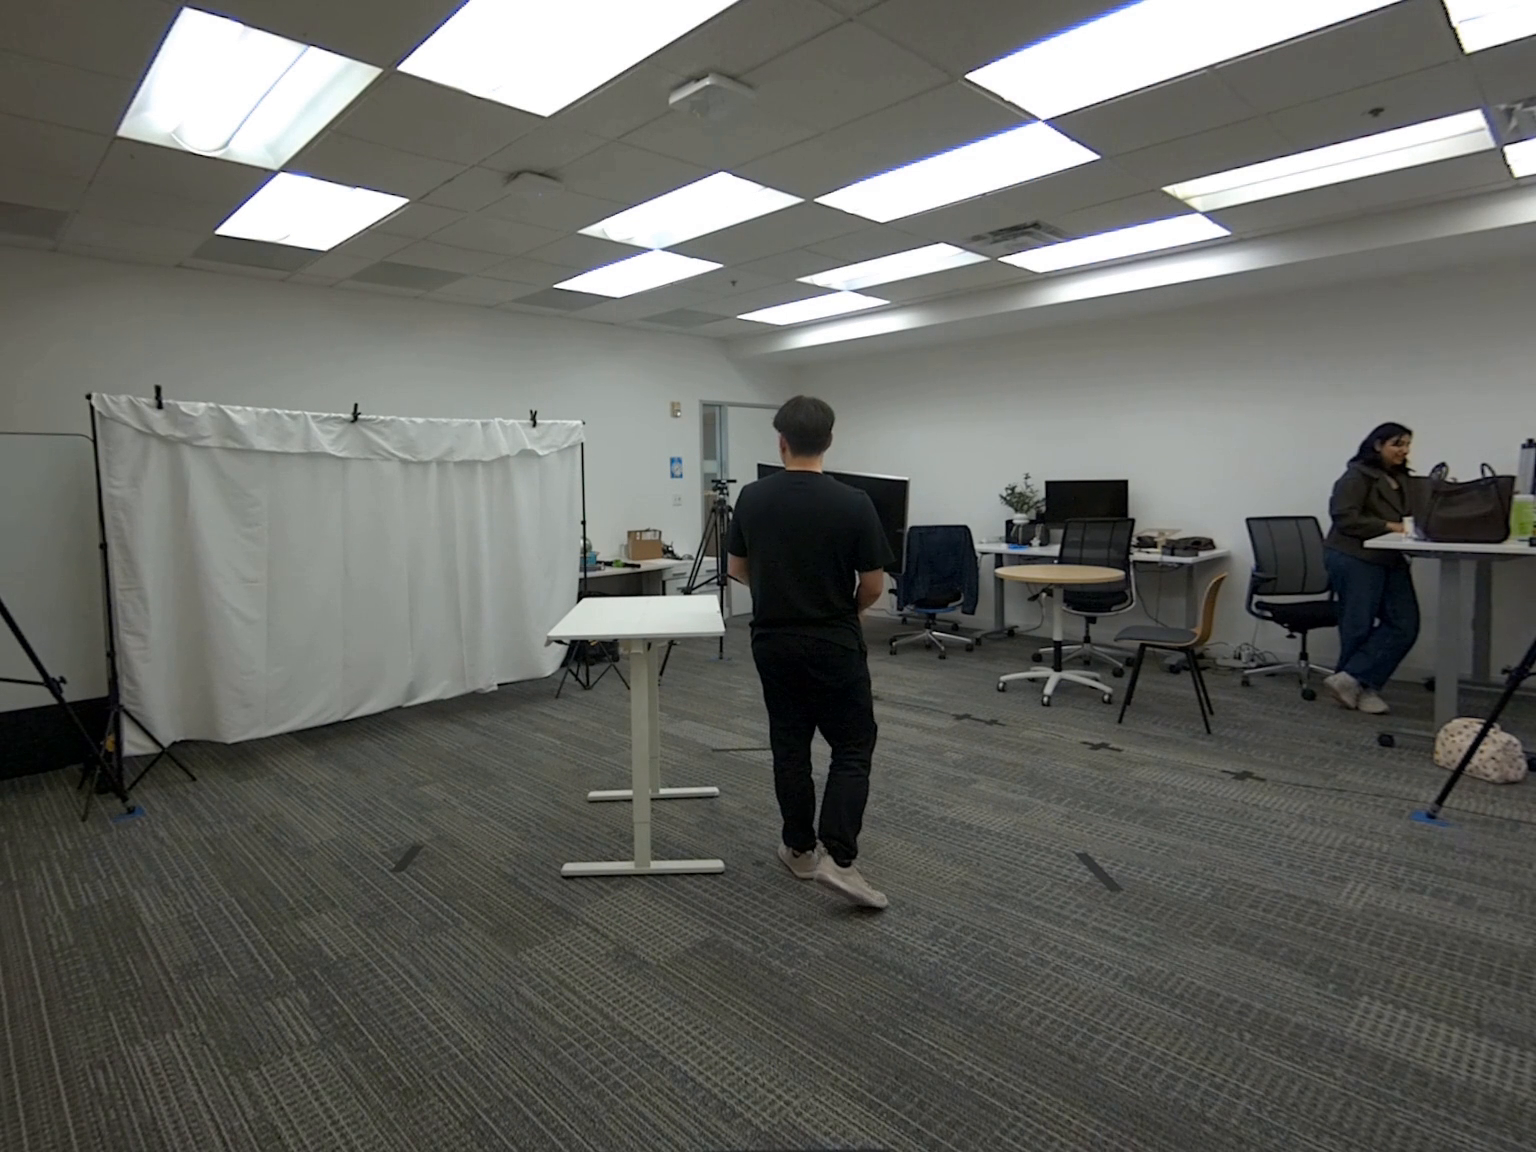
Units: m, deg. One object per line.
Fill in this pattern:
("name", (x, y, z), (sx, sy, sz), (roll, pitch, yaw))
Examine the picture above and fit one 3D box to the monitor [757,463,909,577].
("monitor", (0.217, -0.121, 3.086), (0.551, 0.517, 0.185), (8, 14, 22))
